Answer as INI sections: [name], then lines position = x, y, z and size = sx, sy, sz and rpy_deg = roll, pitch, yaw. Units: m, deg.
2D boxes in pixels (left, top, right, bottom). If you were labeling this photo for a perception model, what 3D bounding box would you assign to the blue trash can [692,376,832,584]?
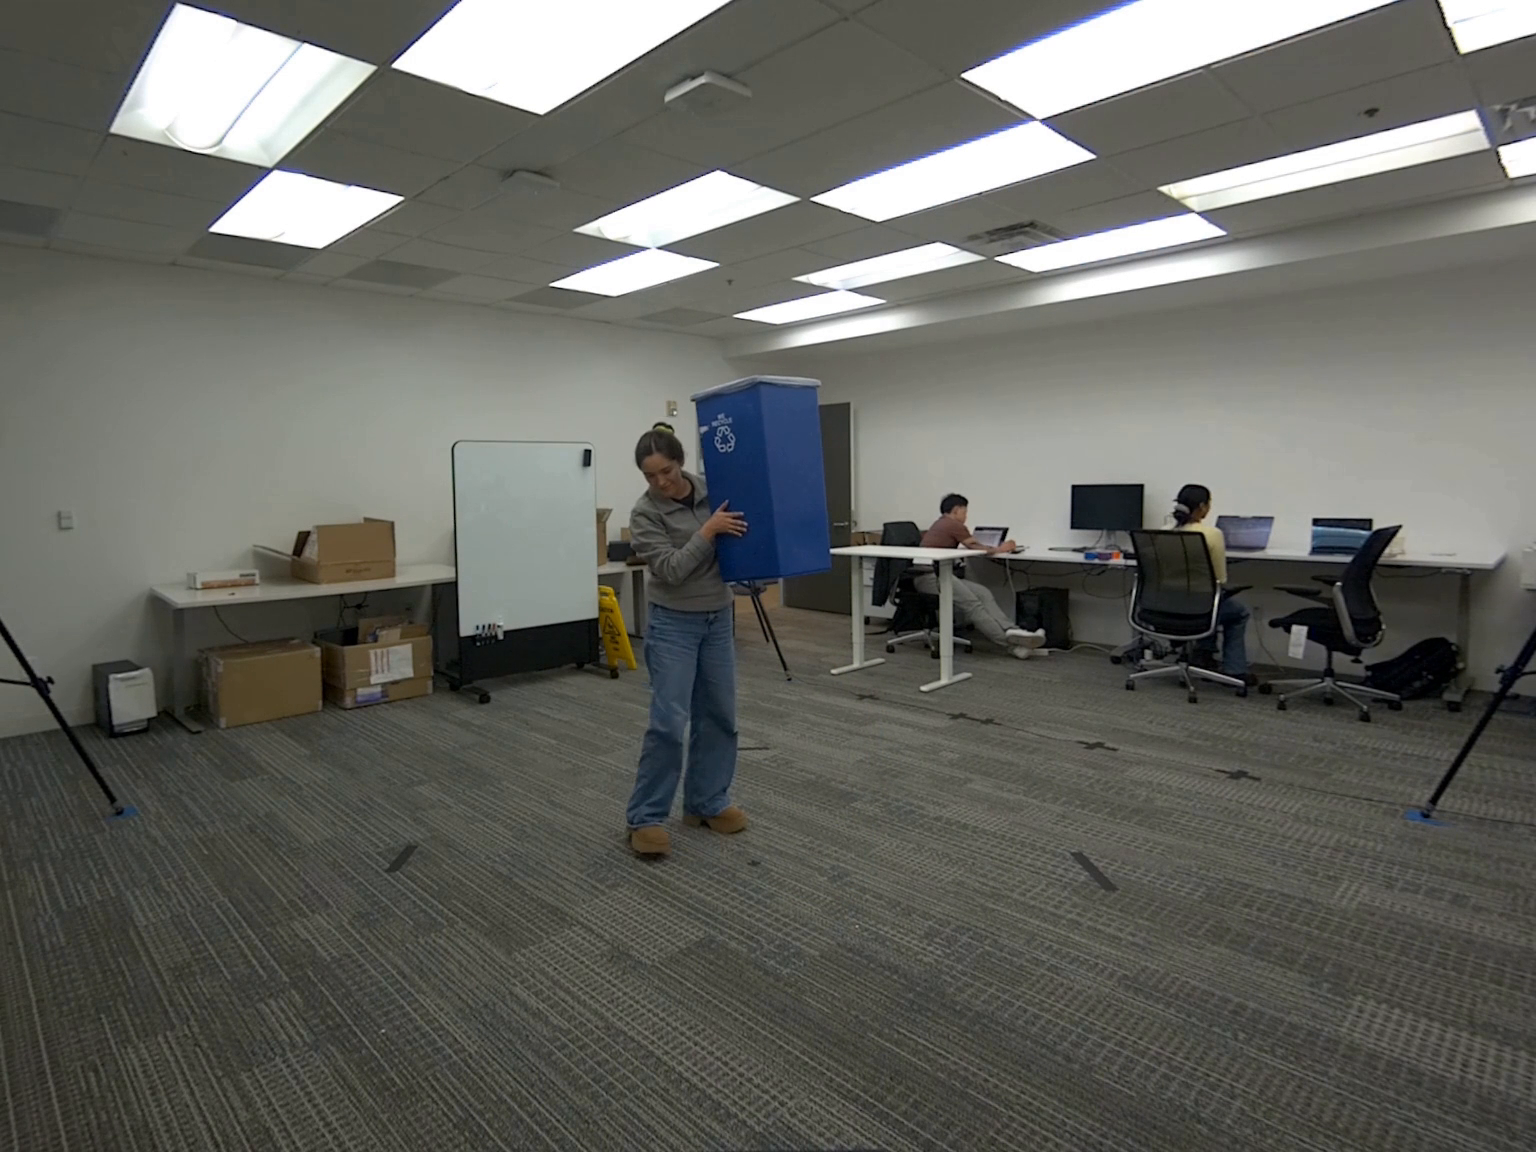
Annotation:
[blue trash can]
position = -0.002, -0.356, 3.196
size = 0.383, 0.714, 0.368
rpy_deg = -7, 0, 44
